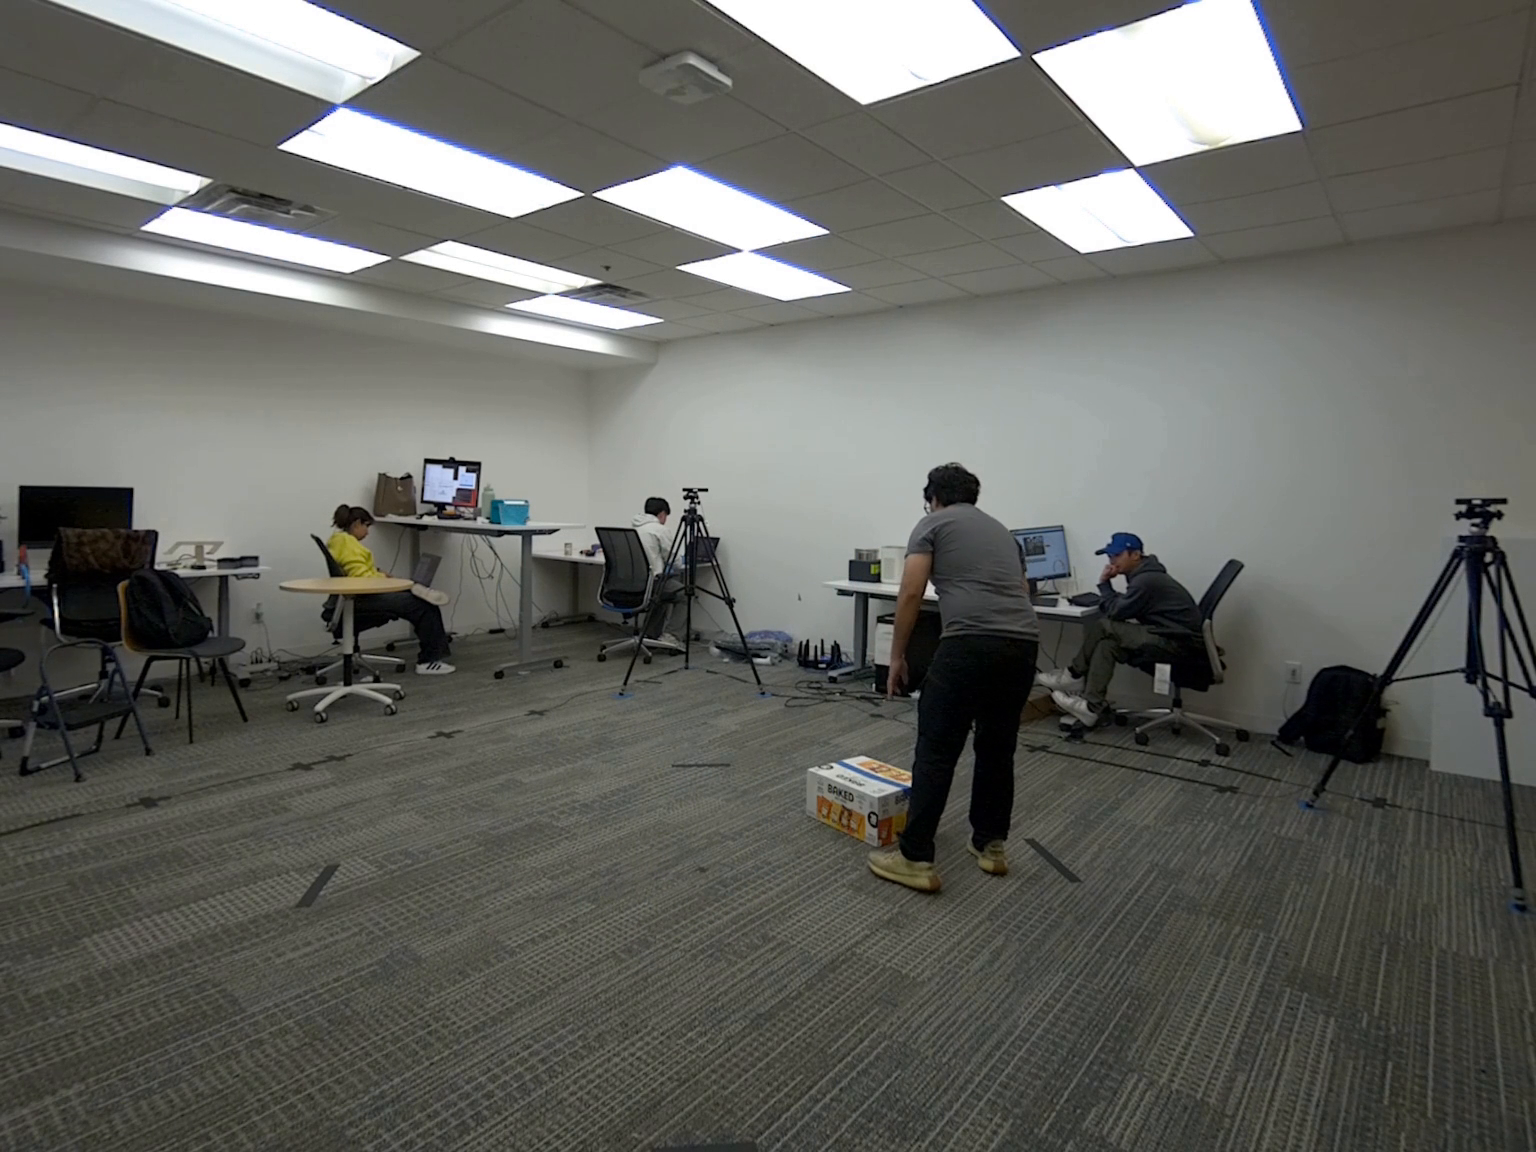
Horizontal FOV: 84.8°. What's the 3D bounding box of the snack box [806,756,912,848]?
[{"bbox_3d":[0.417,0.934,3.588,0.330,0.205,0.419,-3,7,-39],"label":"snack box"}]
